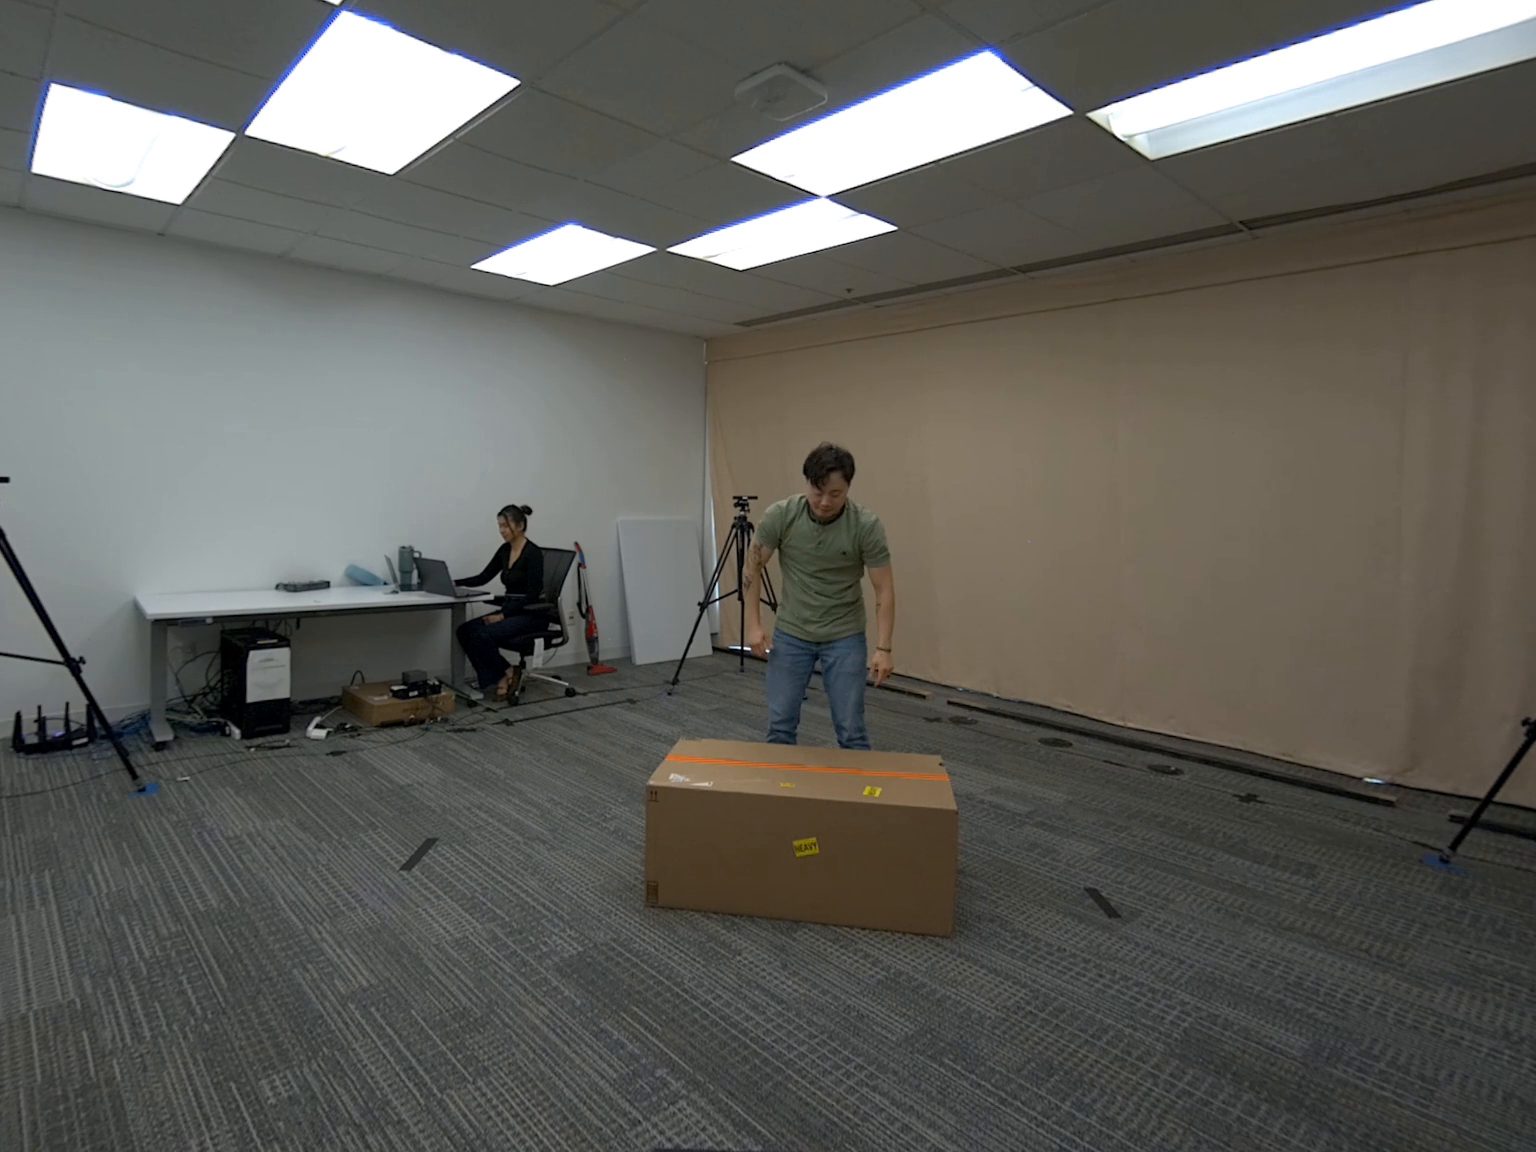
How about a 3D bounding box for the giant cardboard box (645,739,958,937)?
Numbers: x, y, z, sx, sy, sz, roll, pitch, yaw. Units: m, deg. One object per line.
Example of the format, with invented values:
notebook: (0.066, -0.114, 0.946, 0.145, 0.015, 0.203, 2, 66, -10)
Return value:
giant cardboard box: (0.117, 0.897, 3.035, 1.033, 0.425, 0.575, 2, 5, 8)
